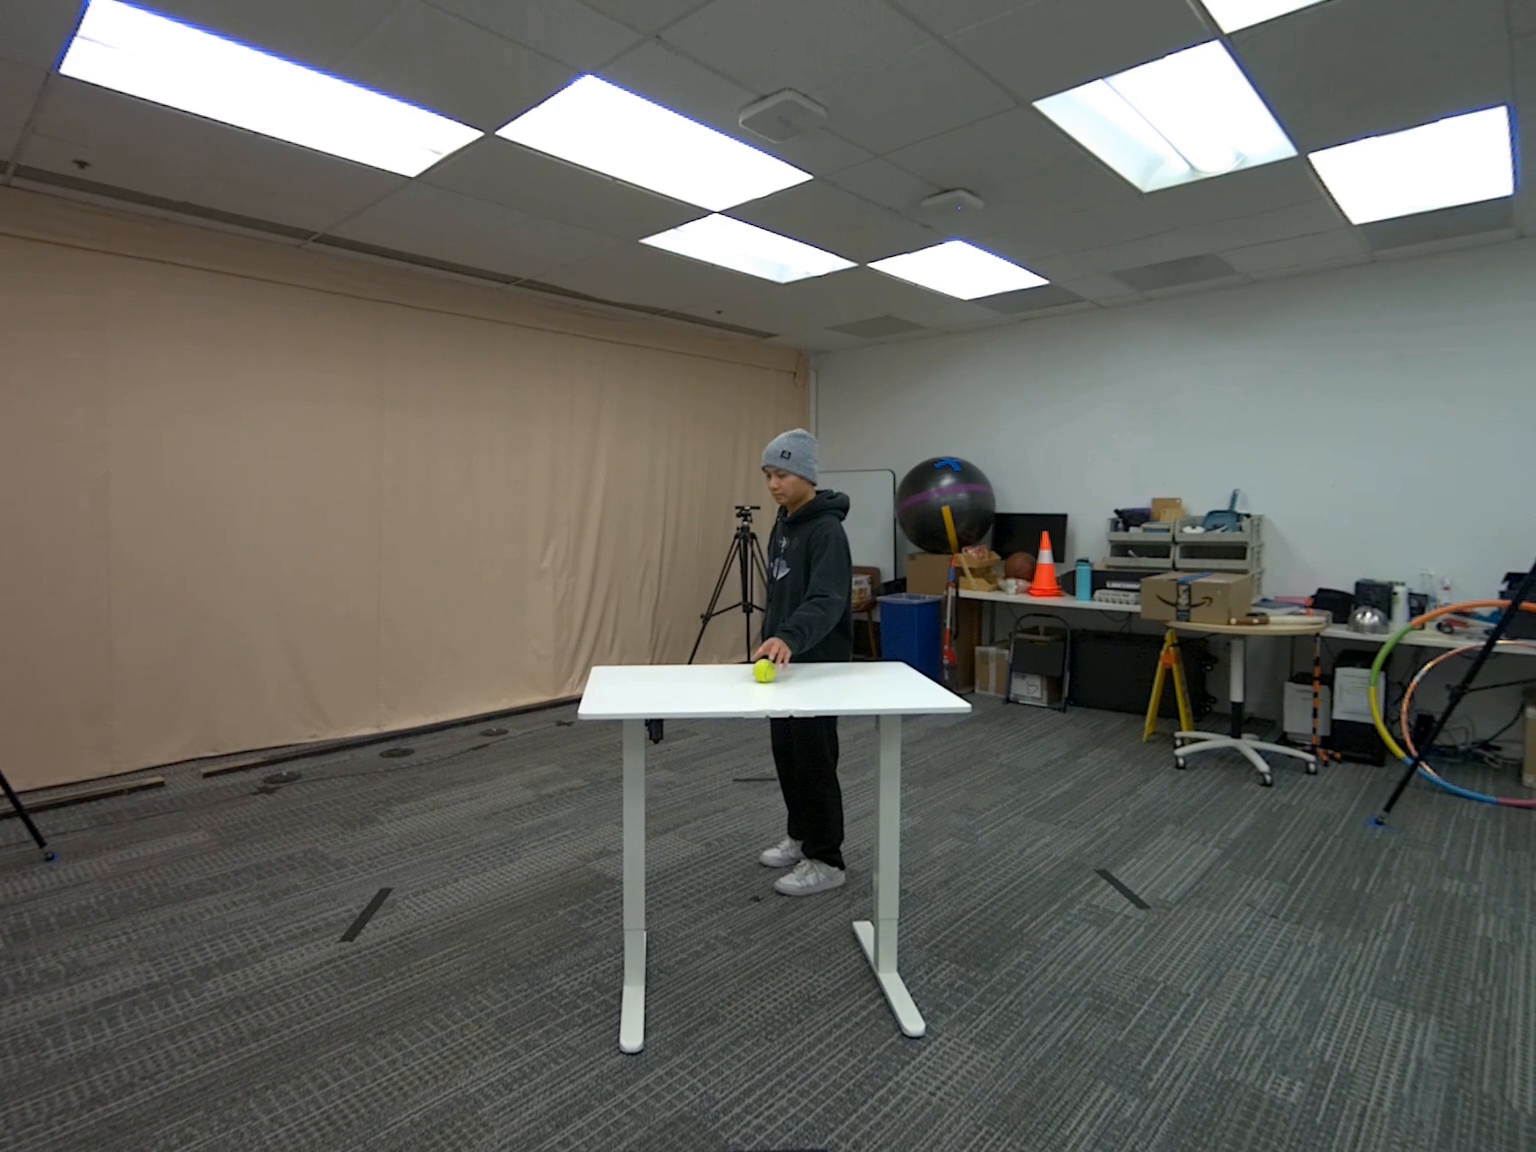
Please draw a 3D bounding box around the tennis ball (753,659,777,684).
[{"bbox_3d":[-0.004,0.273,2.441,0.066,0.066,0.067,0,4,-2],"label":"tennis ball"}]
